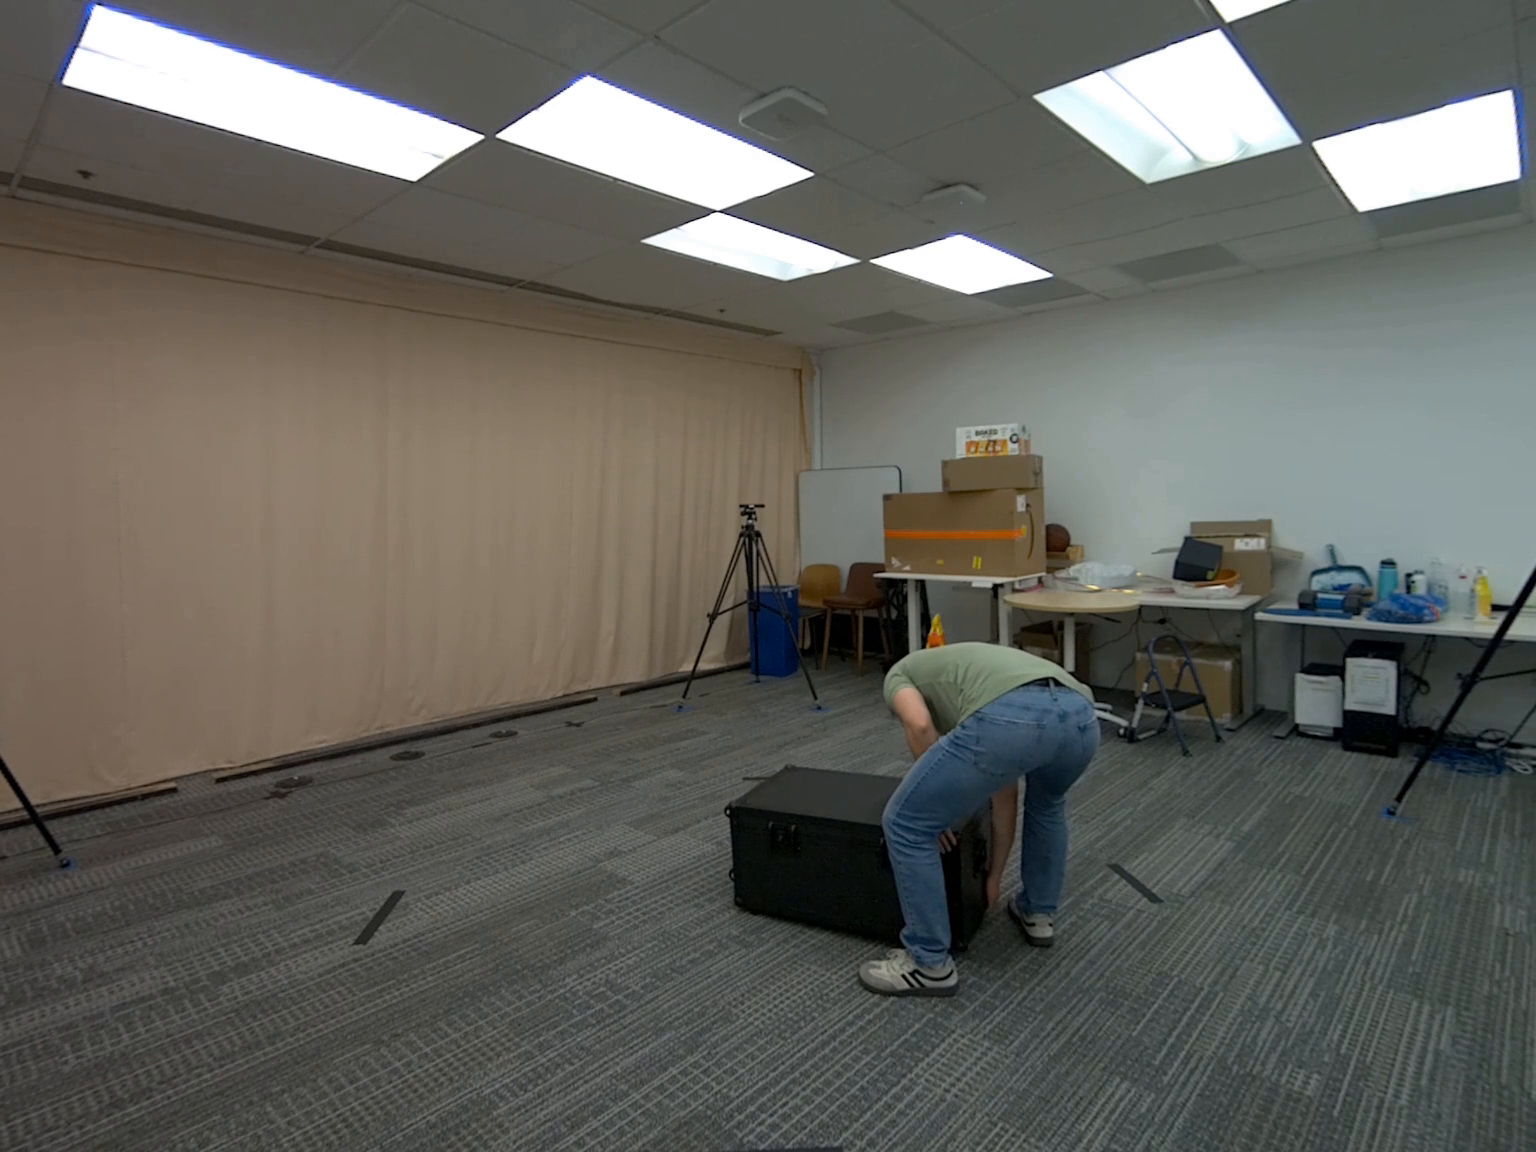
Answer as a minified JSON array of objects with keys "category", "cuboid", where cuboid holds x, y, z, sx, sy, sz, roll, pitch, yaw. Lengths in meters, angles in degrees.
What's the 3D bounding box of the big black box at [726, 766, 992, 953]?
[{"category":"big black box","cuboid":[0.304,0.940,2.916,0.885,0.395,0.509,0,5,28]}]
